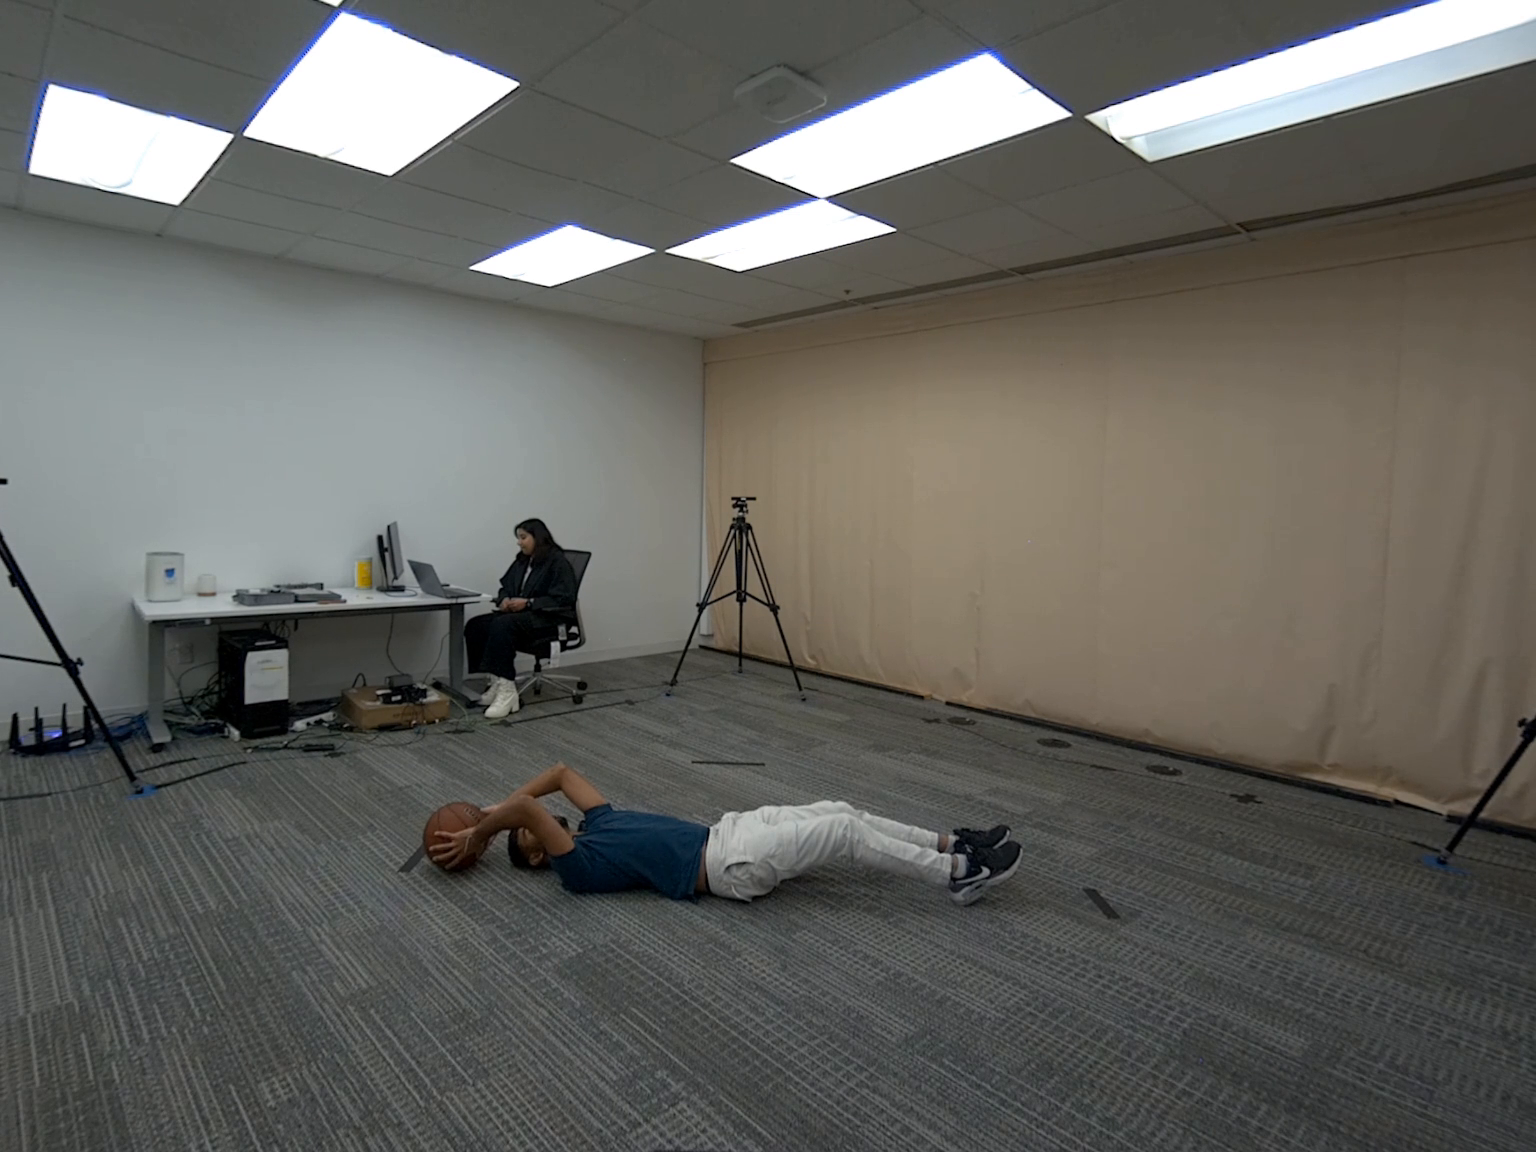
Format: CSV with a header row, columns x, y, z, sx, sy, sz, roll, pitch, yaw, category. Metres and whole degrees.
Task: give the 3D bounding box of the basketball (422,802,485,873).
x,y,z,sx,sy,sz,roll,pitch,yaw,category
-1.168,0.968,3.118,0.236,0.235,0.237,1,4,-1,basketball
